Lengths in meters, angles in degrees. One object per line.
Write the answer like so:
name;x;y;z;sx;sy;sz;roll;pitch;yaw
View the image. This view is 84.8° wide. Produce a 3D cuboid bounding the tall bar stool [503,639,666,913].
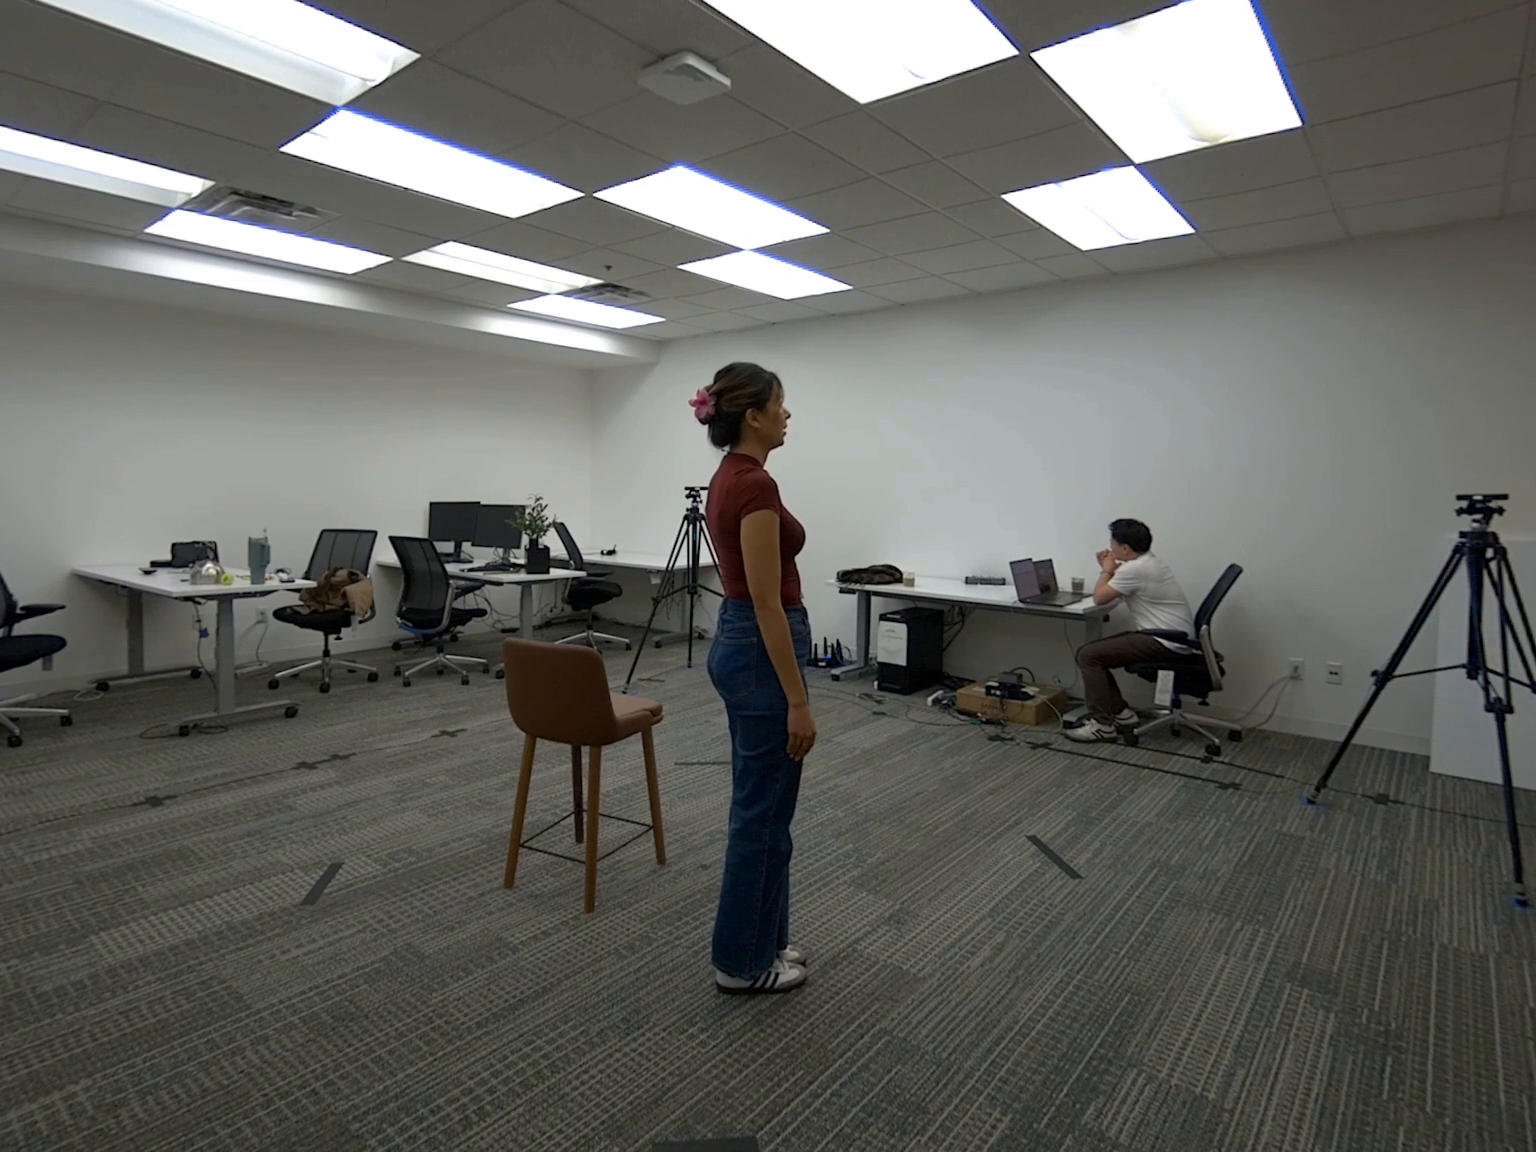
tall bar stool;-0.664;0.633;3.021;0.469;0.886;0.457;2;5;27
